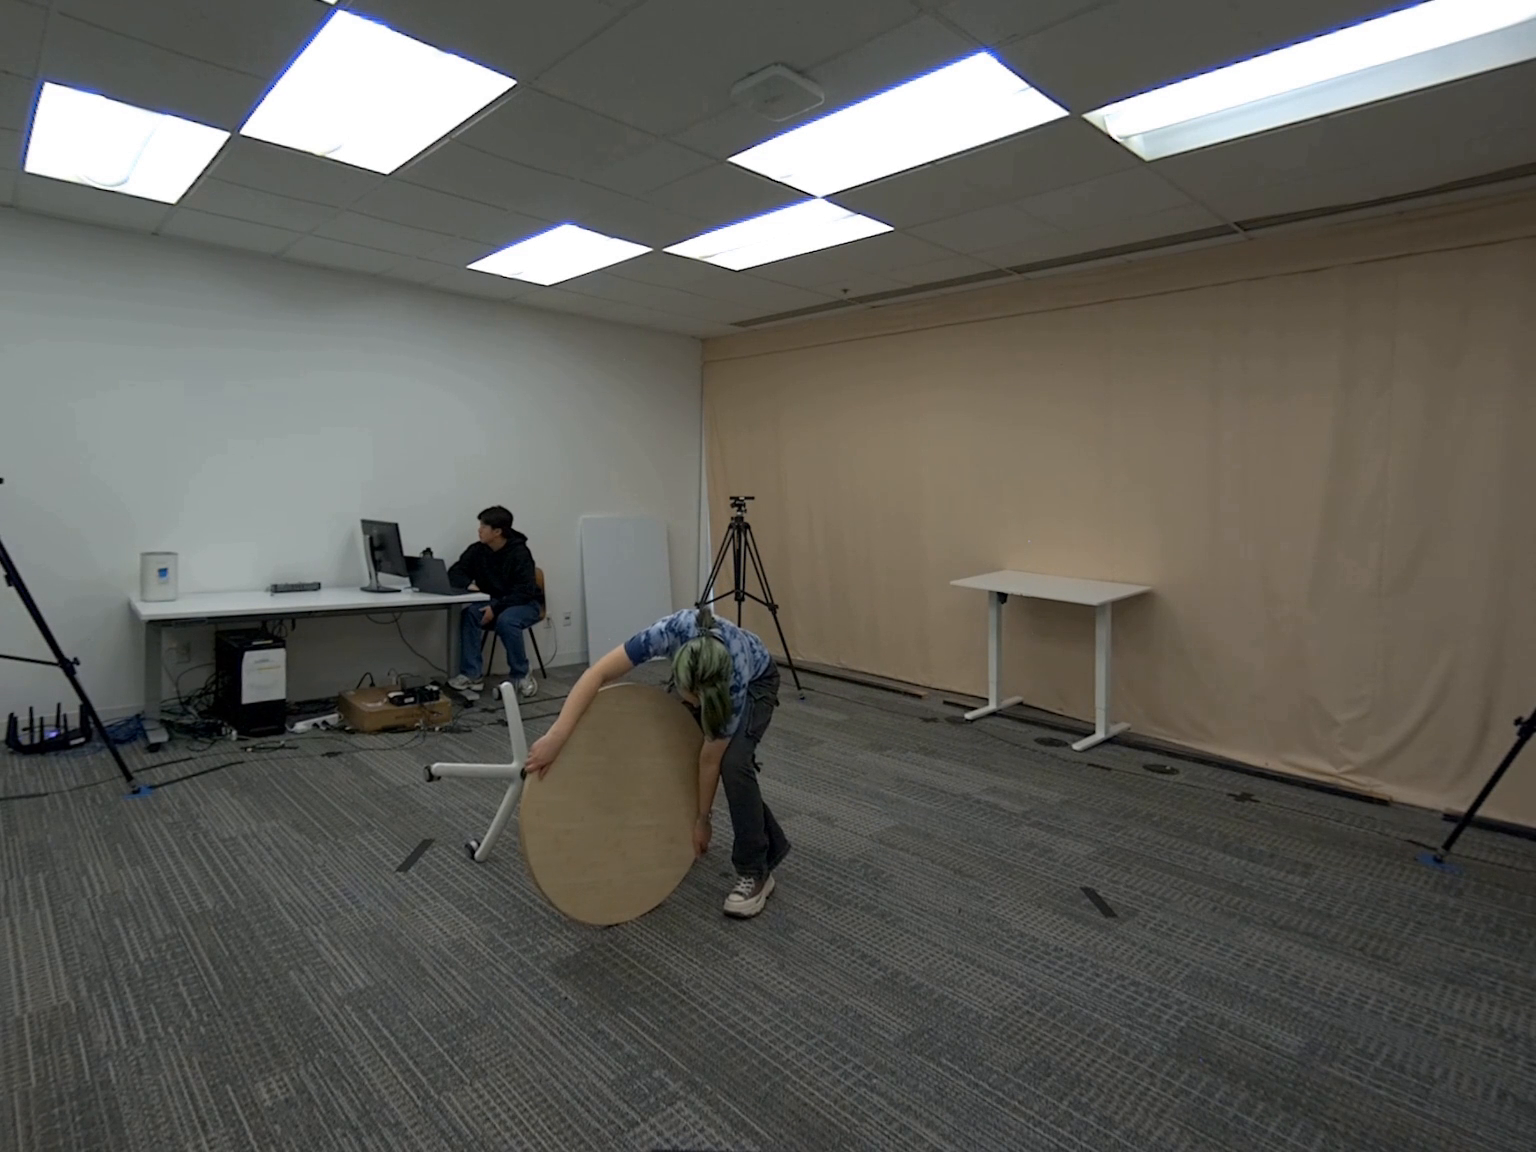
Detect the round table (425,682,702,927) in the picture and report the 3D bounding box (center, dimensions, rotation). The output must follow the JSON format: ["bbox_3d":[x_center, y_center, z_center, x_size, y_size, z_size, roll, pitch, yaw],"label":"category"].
[{"bbox_3d":[-0.752,0.752,3.059,0.746,0.764,0.812,-3,0,-45],"label":"round table"}]
